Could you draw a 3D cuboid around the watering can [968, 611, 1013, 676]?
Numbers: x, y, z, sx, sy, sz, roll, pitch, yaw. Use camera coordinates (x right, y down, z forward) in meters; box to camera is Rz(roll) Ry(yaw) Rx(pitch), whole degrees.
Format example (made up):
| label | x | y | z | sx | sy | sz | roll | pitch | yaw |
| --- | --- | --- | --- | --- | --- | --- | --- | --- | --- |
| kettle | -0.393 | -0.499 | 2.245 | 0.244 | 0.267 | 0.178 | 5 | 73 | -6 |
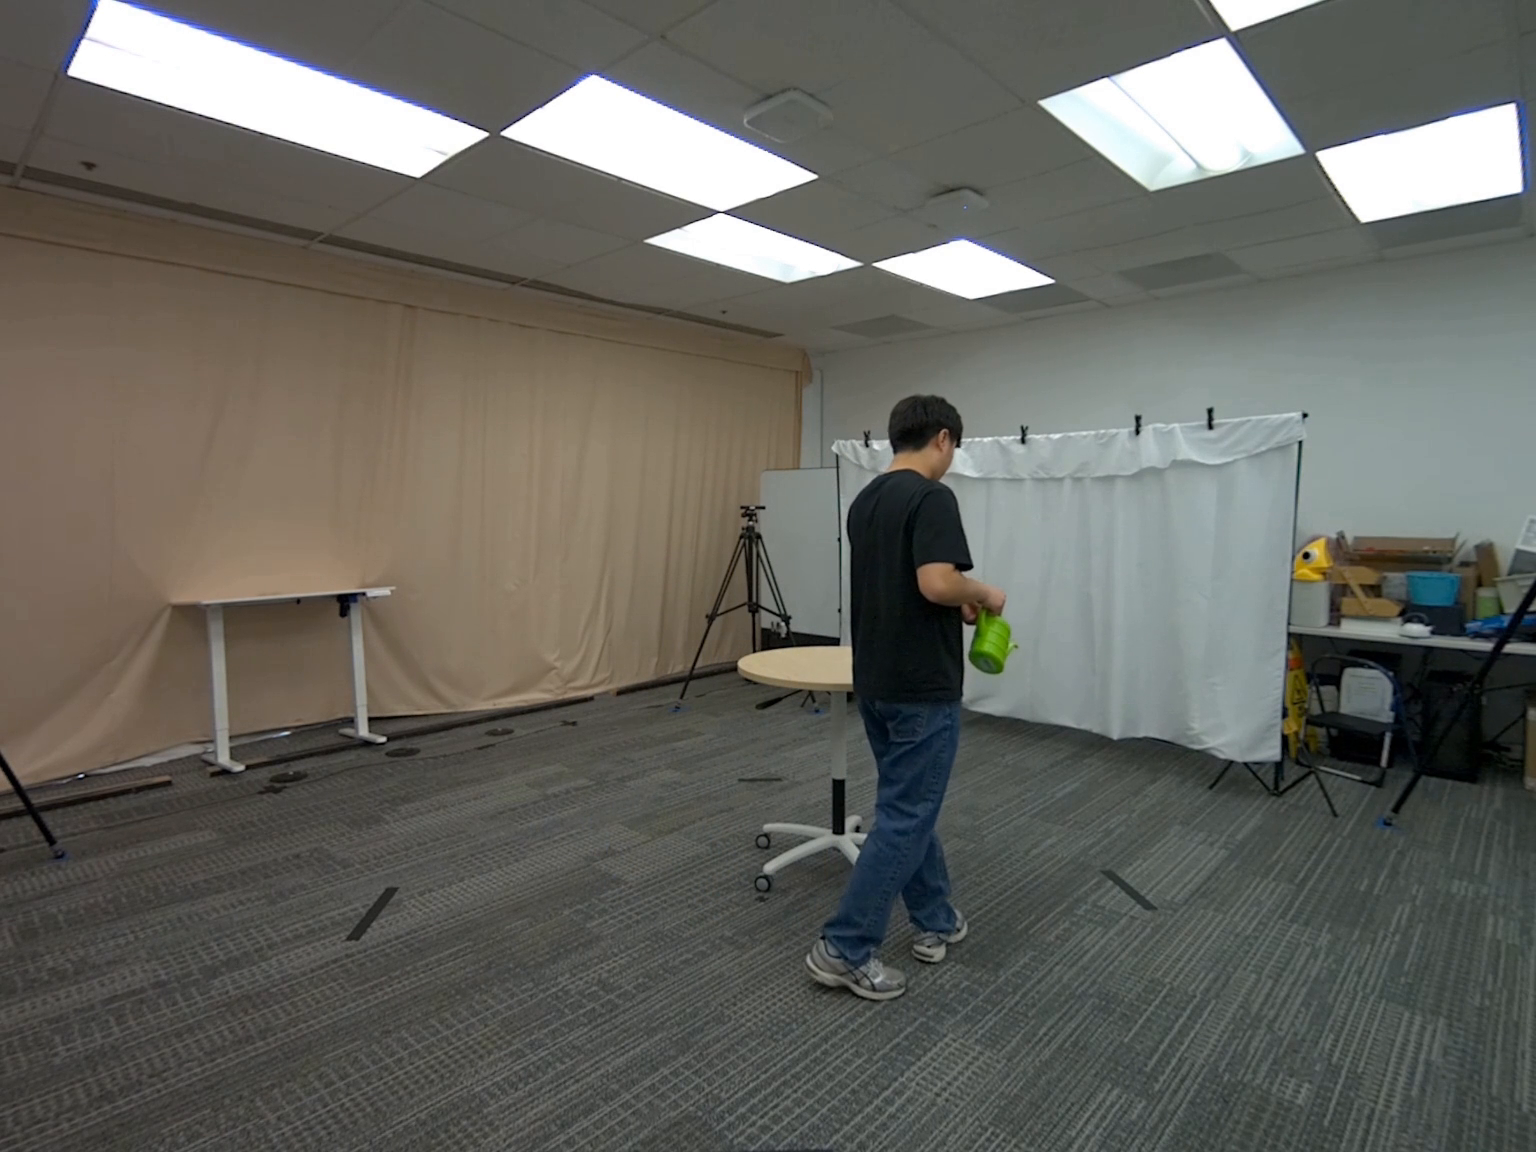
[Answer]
| label | x | y | z | sx | sy | sz | roll | pitch | yaw |
| --- | --- | --- | --- | --- | --- | --- | --- | --- | --- |
| watering can | 0.689 | 0.211 | 2.480 | 0.270 | 0.177 | 0.100 | 38 | -33 | -26 |
